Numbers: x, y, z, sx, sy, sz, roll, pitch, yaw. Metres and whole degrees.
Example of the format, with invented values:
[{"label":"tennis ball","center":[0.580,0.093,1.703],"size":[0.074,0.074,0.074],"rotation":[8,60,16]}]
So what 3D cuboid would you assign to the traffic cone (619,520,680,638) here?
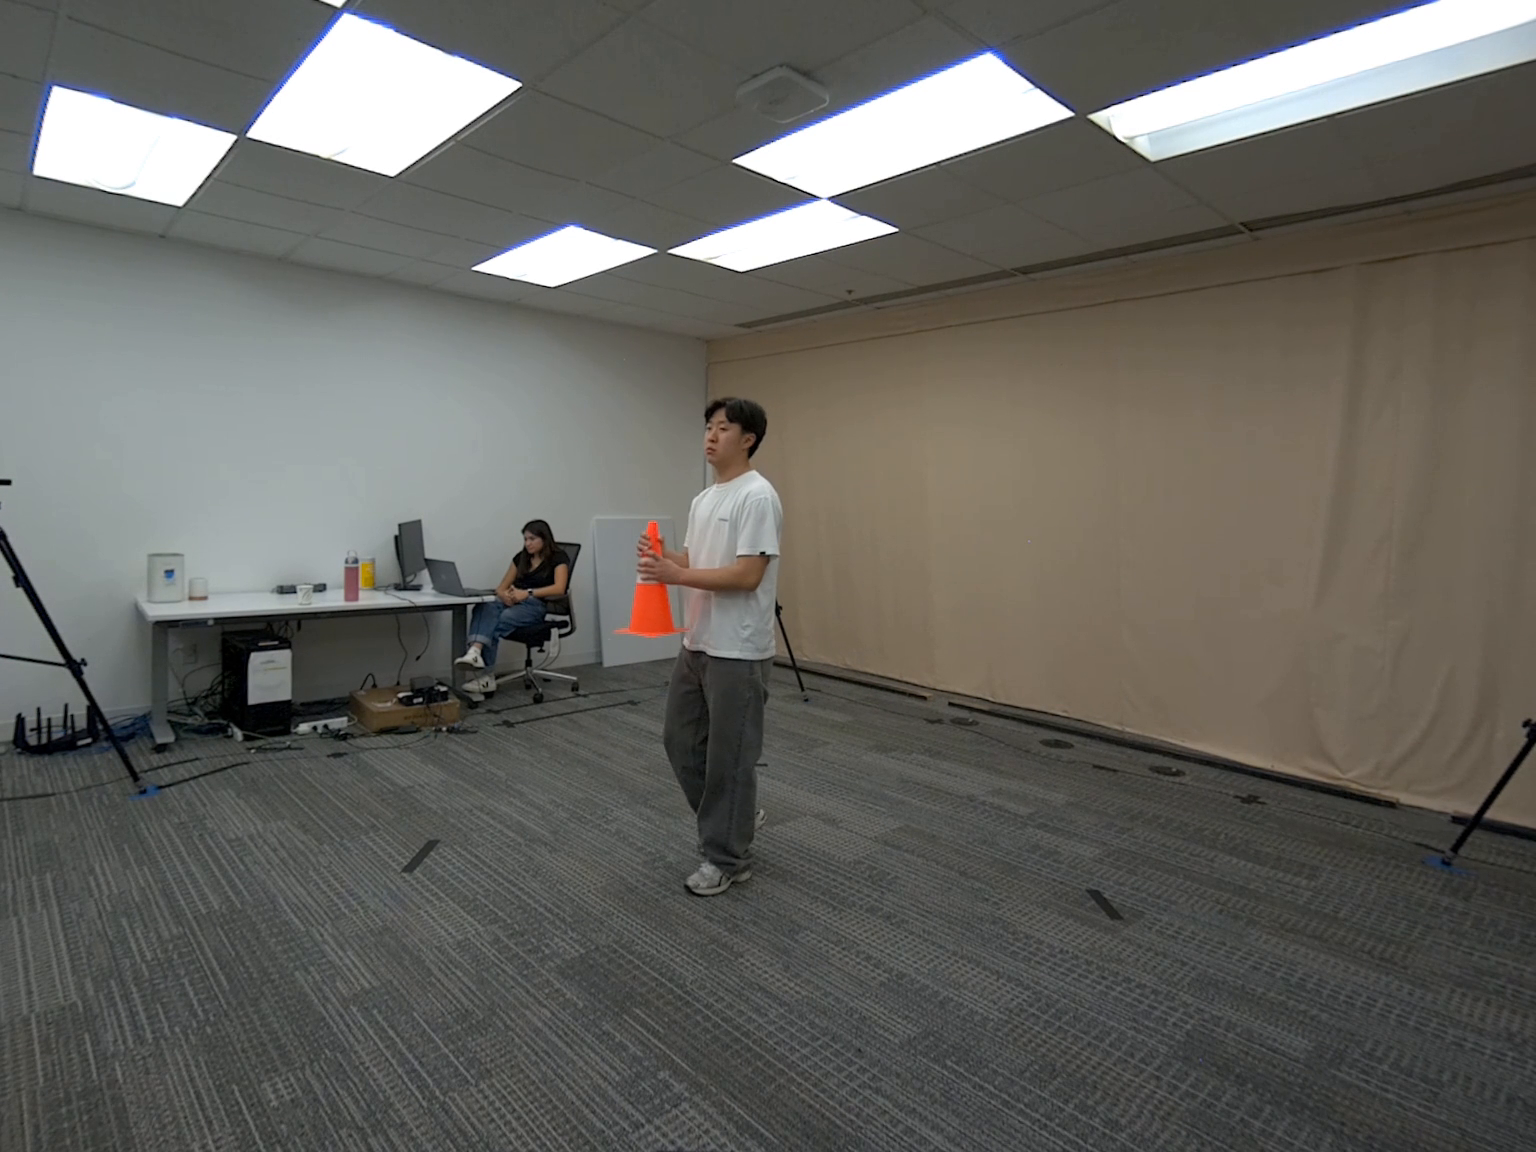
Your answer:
[{"label":"traffic cone","center":[-0.409,0.007,2.932],"size":[0.209,0.383,0.199],"rotation":[0,1,36]}]
